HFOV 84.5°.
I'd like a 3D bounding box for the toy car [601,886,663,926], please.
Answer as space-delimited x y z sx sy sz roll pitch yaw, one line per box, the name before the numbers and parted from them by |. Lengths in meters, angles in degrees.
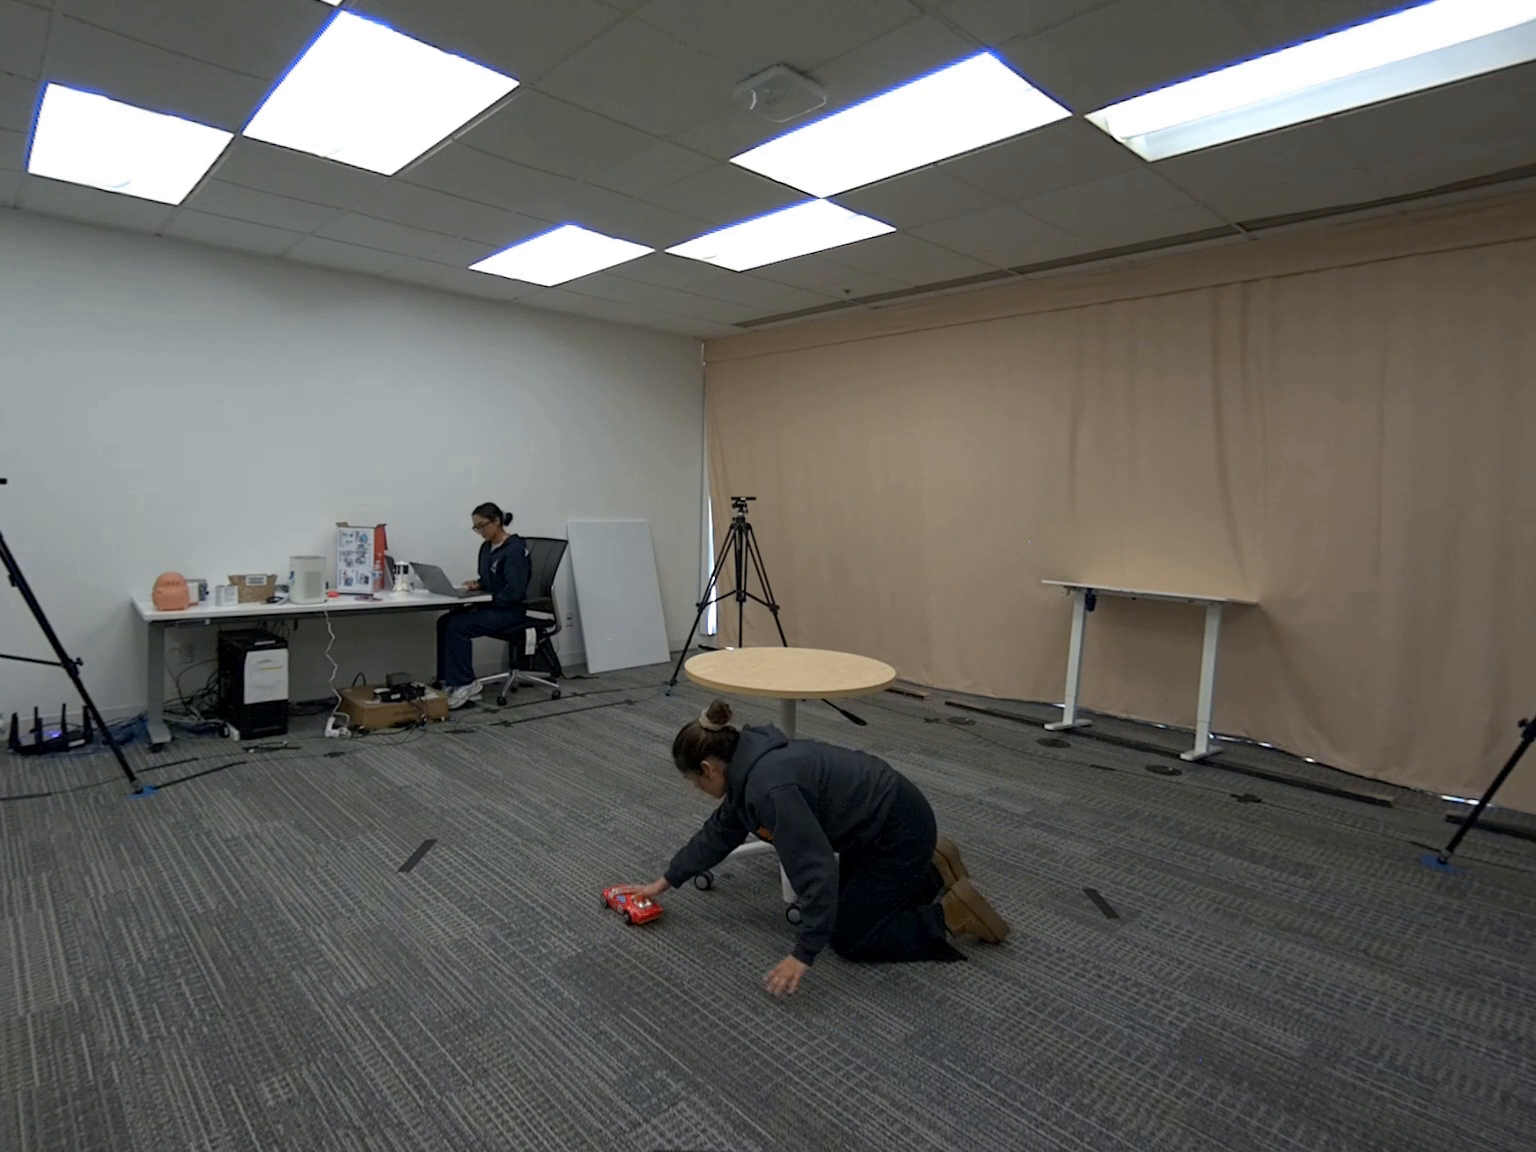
toy car | -0.452 1.088 2.816 0.127 0.083 0.259 -2 -5 -41
